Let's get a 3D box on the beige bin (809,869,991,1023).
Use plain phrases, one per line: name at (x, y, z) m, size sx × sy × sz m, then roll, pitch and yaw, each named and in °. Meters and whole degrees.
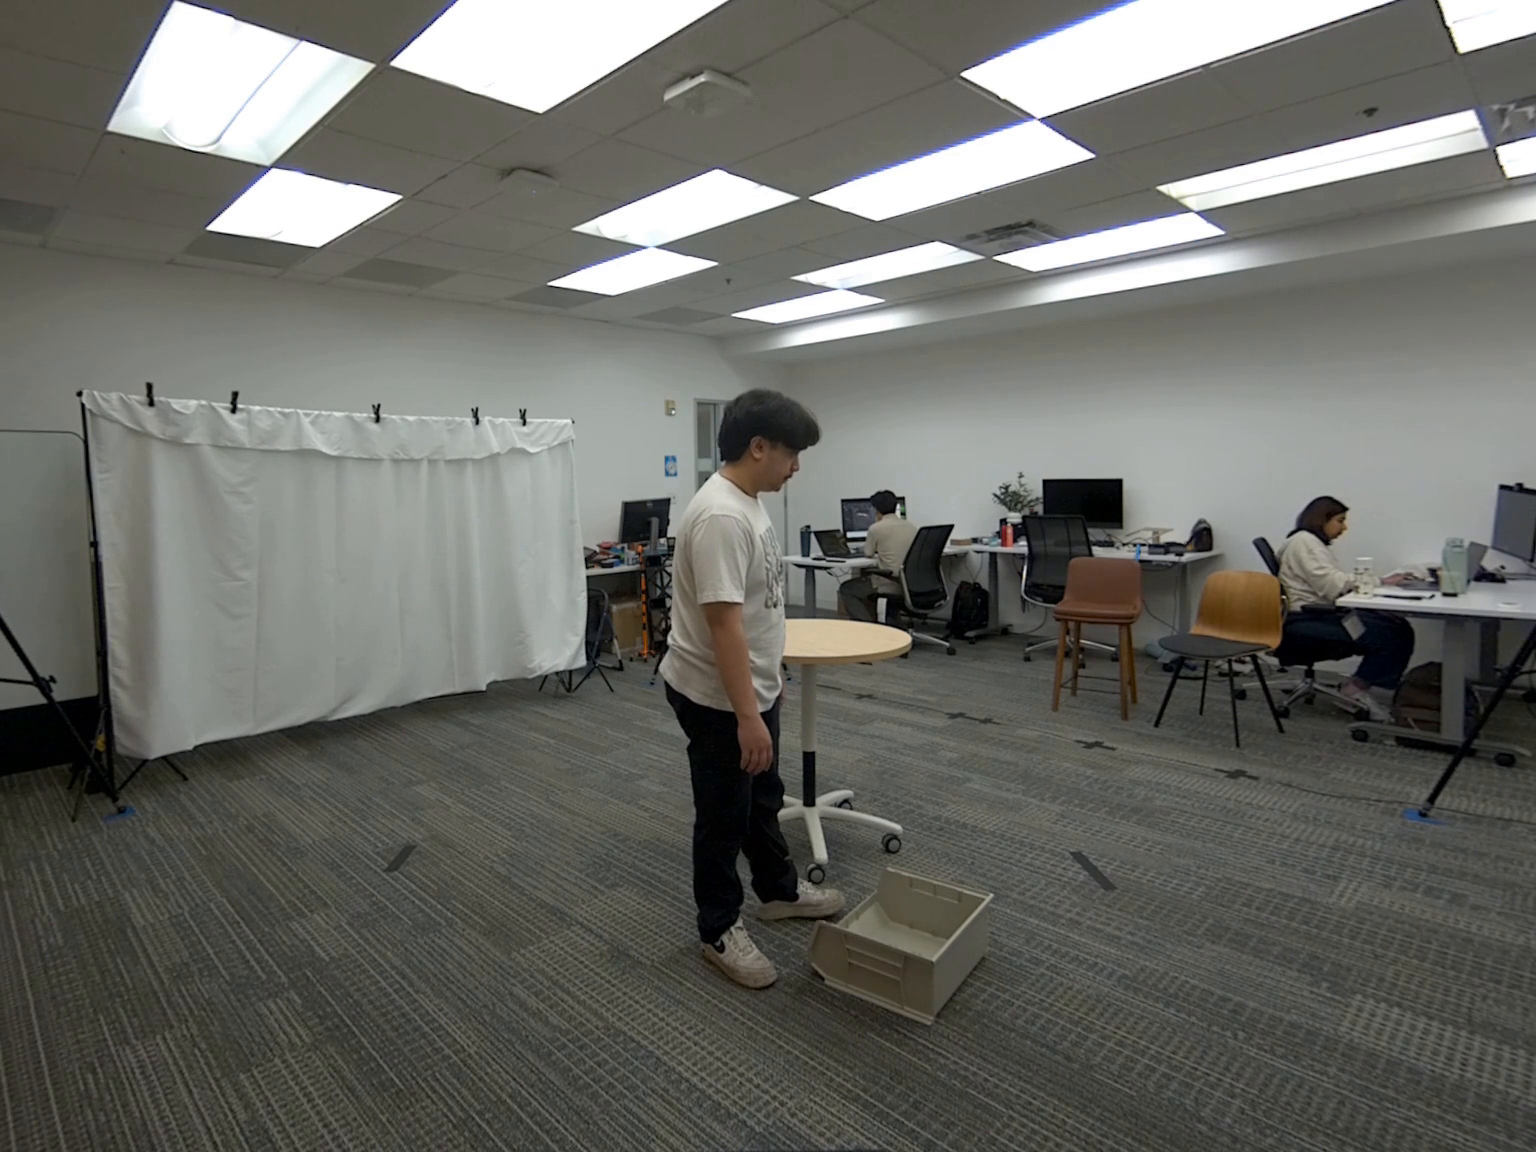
beige bin at (0.381, 1.018, 2.431) m, size 0.388 × 0.188 × 0.412 m, roll 4°, pitch 7°, yaw 35°
